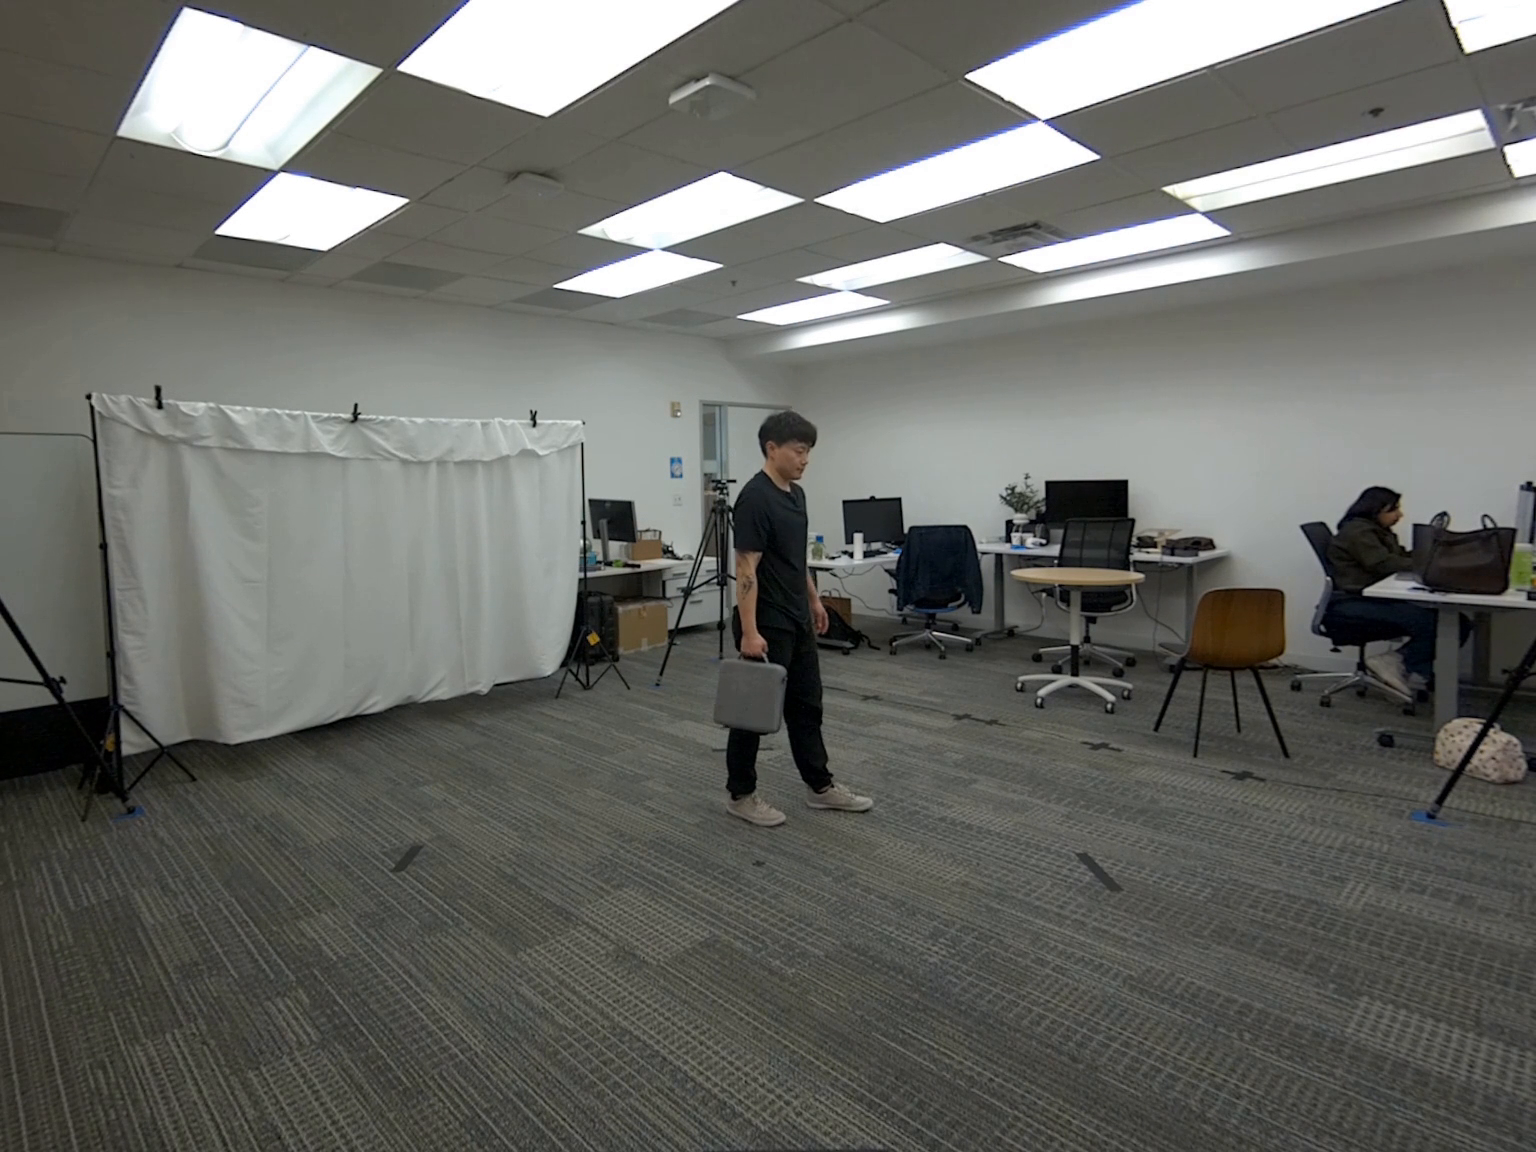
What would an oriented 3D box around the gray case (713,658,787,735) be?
[{"bbox_3d":[-0.059,0.443,3.240,0.262,0.261,0.102,5,-4,21],"label":"gray case"}]
